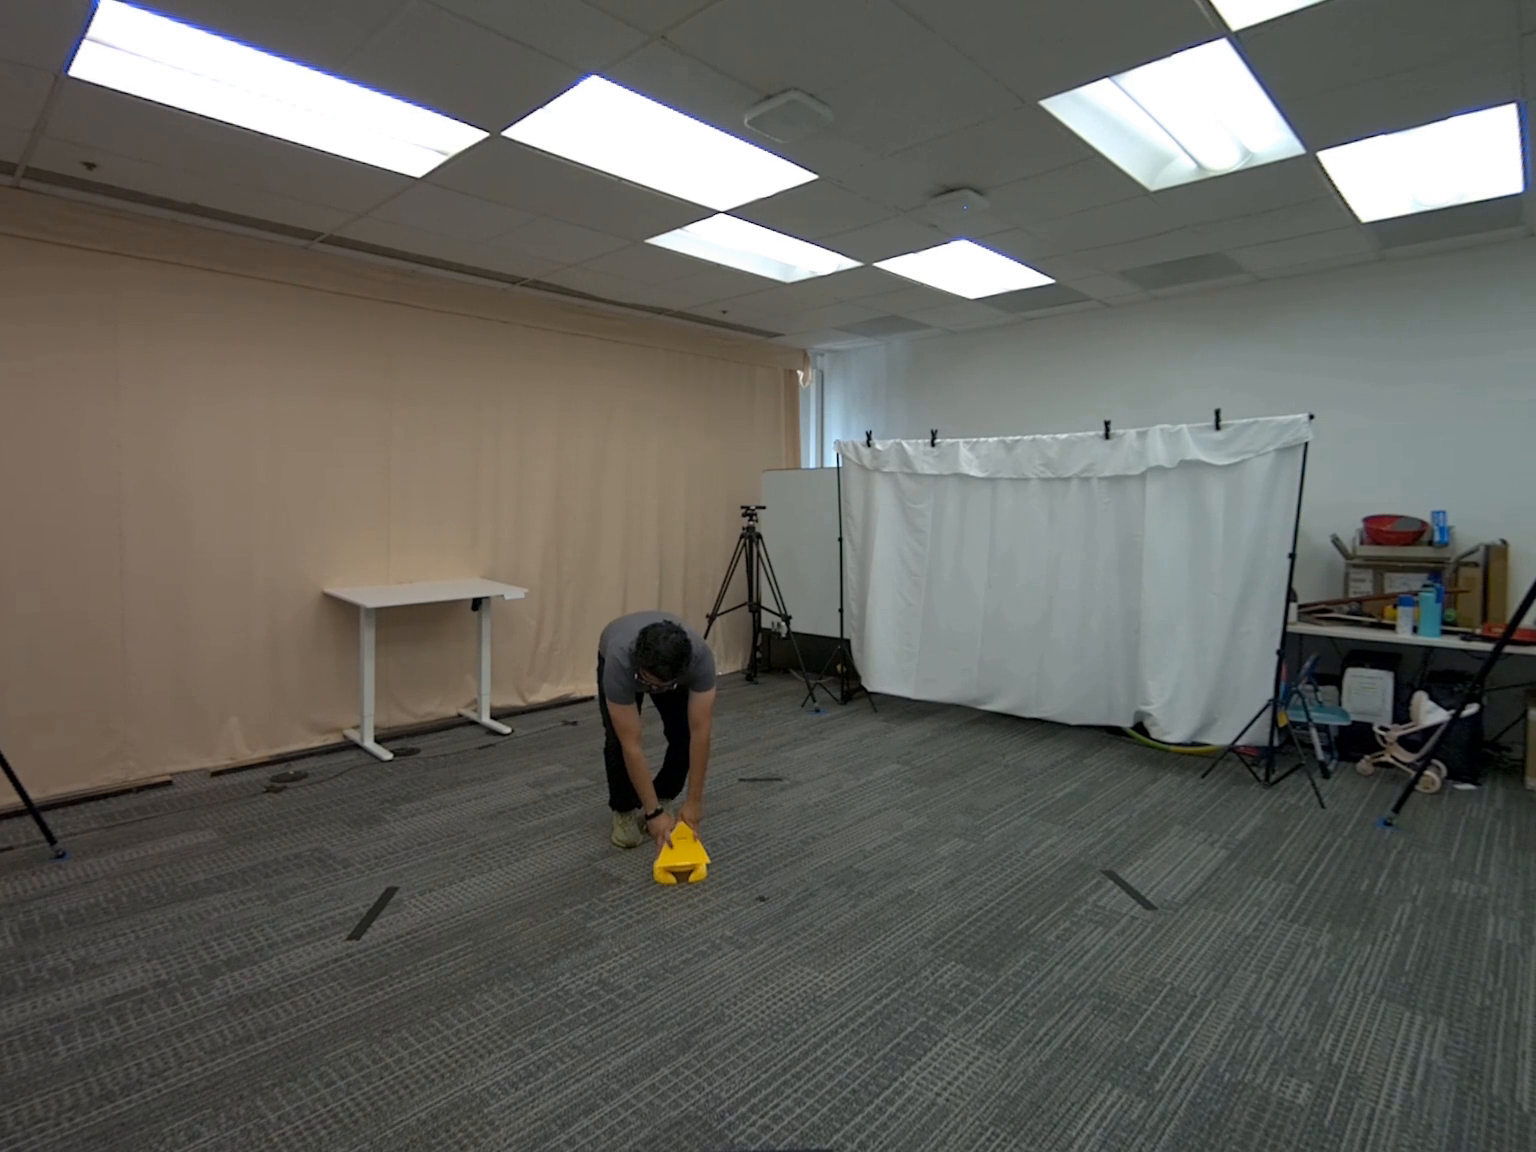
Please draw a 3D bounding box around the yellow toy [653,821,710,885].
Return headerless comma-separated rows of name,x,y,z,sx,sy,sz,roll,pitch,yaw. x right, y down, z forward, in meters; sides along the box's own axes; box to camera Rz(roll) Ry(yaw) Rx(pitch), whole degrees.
yellow toy,-0.332,1.018,3.177,0.202,0.230,0.196,-1,5,-12
